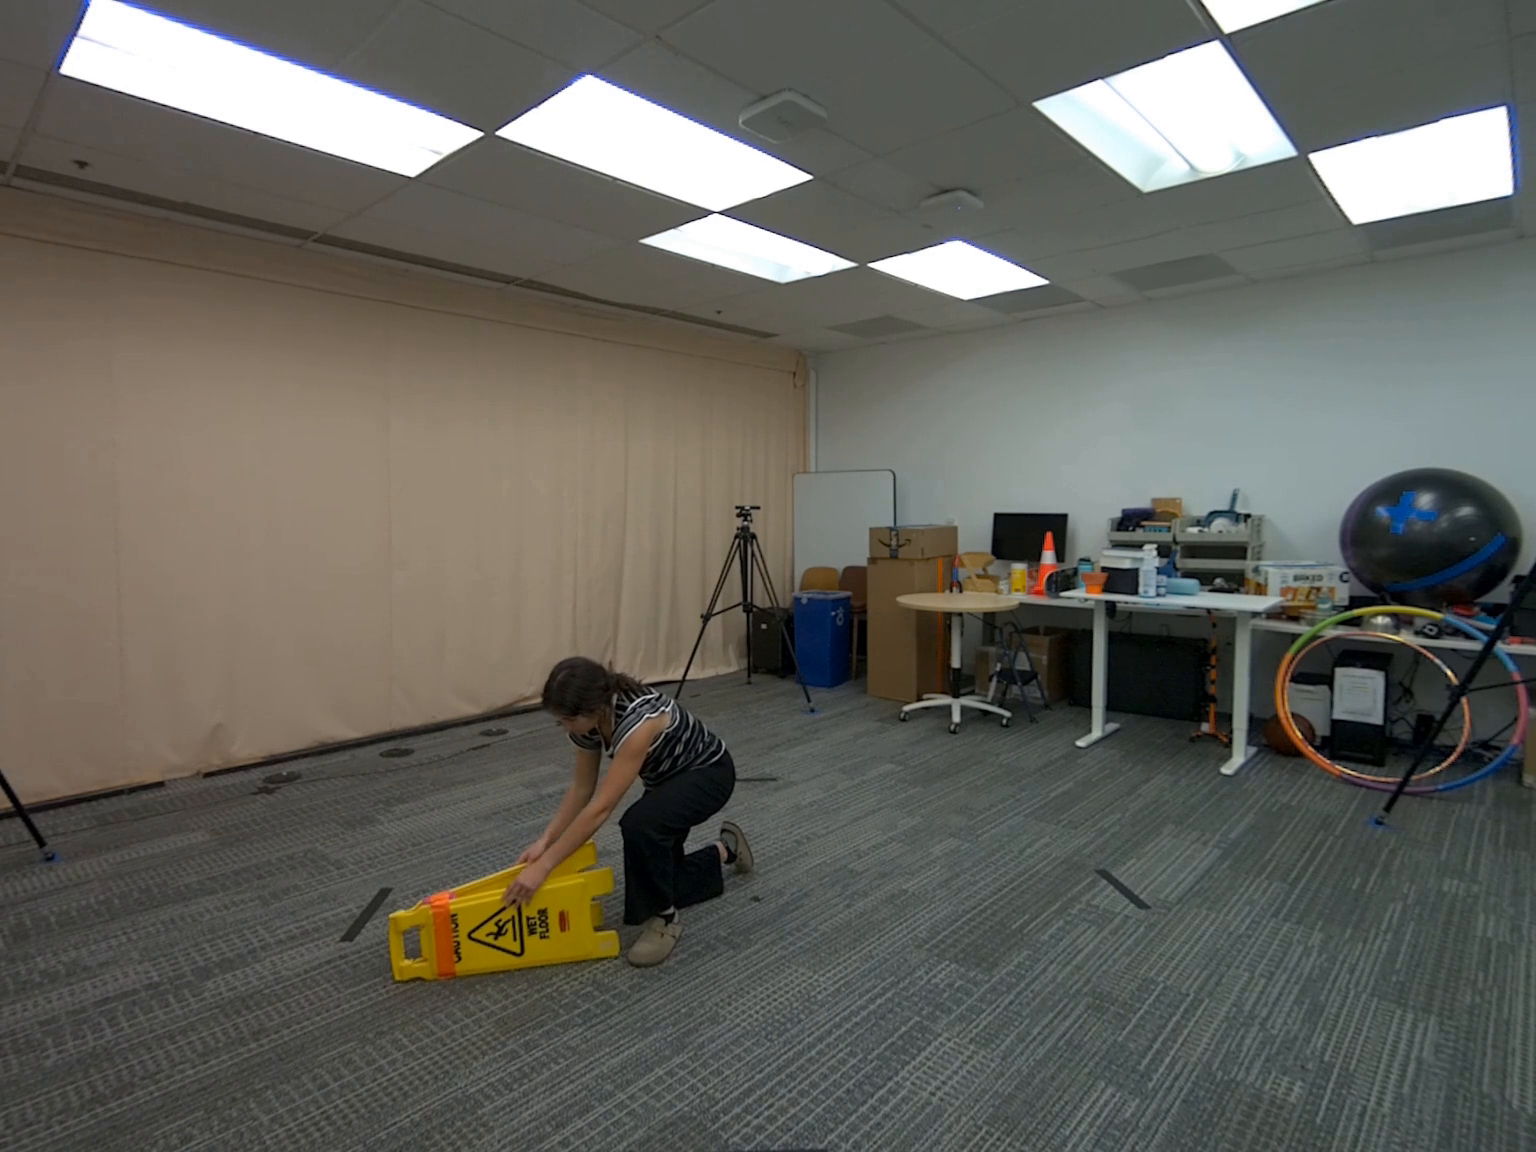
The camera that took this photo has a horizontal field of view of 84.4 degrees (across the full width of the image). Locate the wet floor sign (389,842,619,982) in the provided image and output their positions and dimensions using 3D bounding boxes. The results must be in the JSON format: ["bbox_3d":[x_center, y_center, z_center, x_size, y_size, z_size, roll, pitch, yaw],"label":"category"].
[{"bbox_3d":[-0.814,1.060,2.576,0.634,0.281,0.296,-6,5,-20],"label":"wet floor sign"}]
